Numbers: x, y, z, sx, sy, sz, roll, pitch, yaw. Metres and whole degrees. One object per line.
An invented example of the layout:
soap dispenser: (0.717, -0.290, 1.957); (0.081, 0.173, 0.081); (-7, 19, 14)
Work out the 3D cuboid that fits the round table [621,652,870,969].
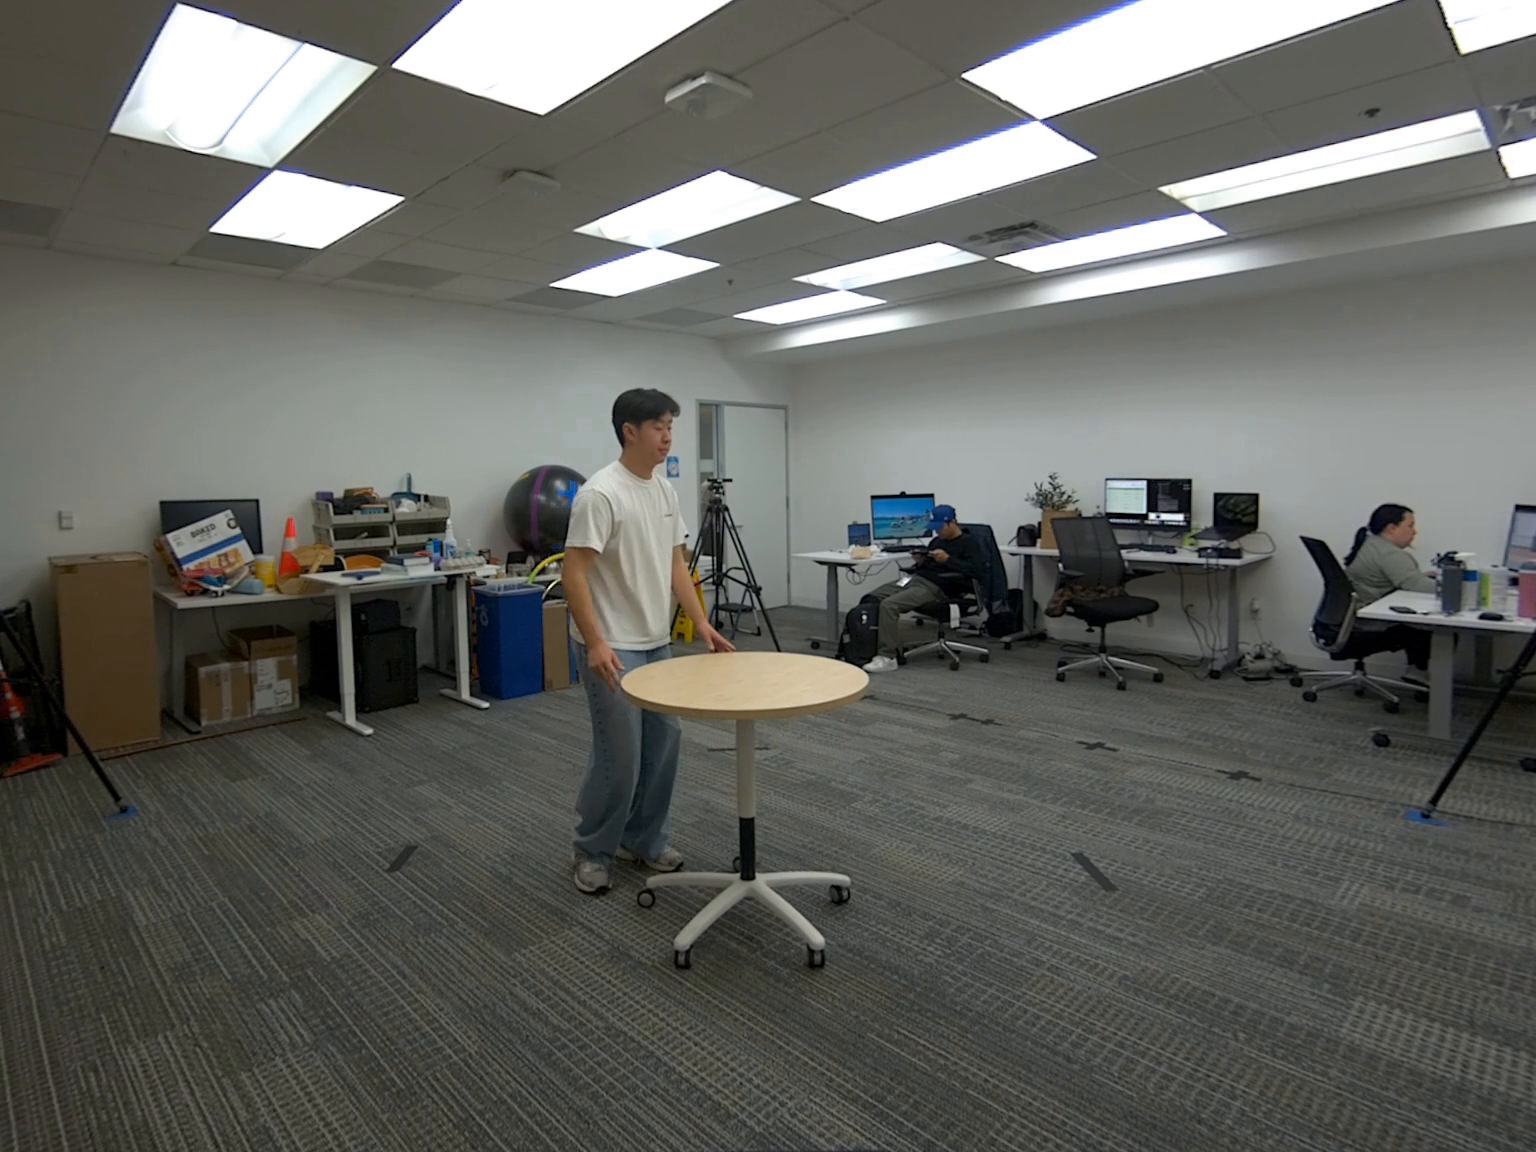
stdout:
round table: (-0.063, 0.698, 2.694); (0.784, 0.783, 0.789); (-1, 5, -2)
